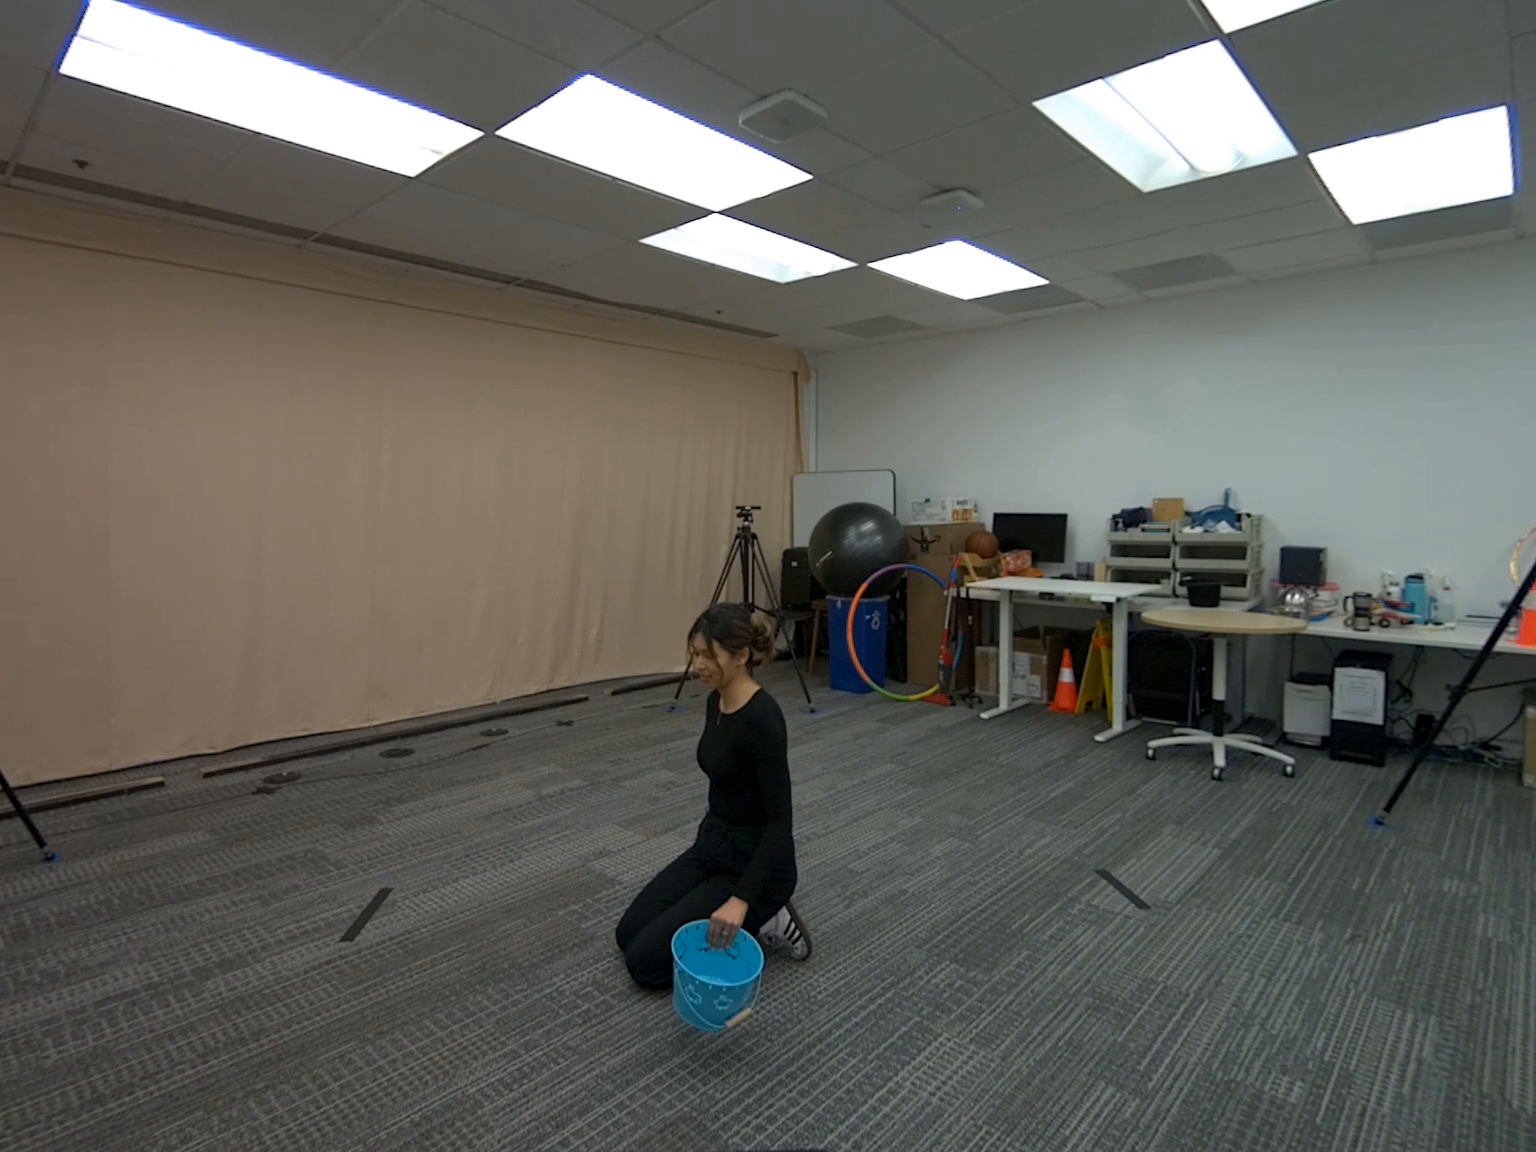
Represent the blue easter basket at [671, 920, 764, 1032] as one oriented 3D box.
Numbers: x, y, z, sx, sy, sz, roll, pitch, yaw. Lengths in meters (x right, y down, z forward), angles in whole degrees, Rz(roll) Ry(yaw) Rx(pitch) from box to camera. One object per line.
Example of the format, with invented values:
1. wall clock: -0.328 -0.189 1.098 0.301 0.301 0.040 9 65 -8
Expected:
1. blue easter basket: -0.145 0.998 2.107 0.243 0.155 0.246 7 12 -3
